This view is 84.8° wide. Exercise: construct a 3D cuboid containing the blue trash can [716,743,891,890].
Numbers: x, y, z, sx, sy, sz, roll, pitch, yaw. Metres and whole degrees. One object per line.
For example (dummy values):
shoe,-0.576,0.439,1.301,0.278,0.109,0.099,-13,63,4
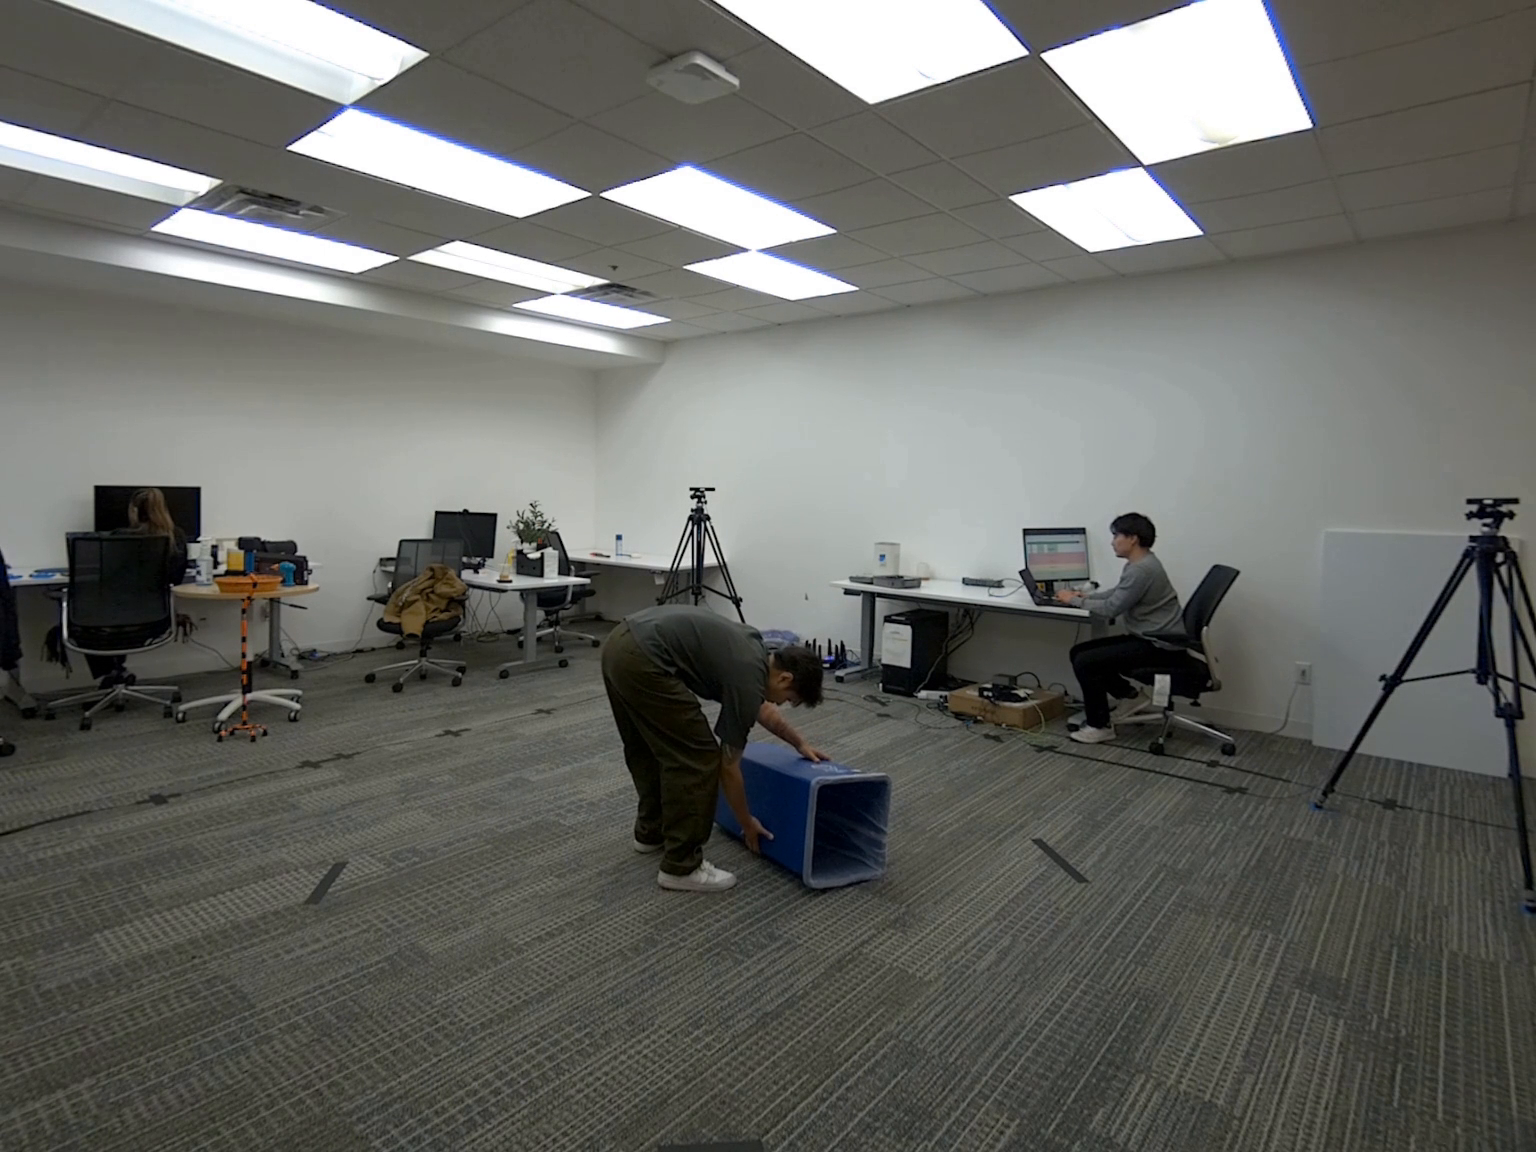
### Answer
blue trash can,0.084,0.883,3.292,0.366,0.375,0.734,5,-2,-33
